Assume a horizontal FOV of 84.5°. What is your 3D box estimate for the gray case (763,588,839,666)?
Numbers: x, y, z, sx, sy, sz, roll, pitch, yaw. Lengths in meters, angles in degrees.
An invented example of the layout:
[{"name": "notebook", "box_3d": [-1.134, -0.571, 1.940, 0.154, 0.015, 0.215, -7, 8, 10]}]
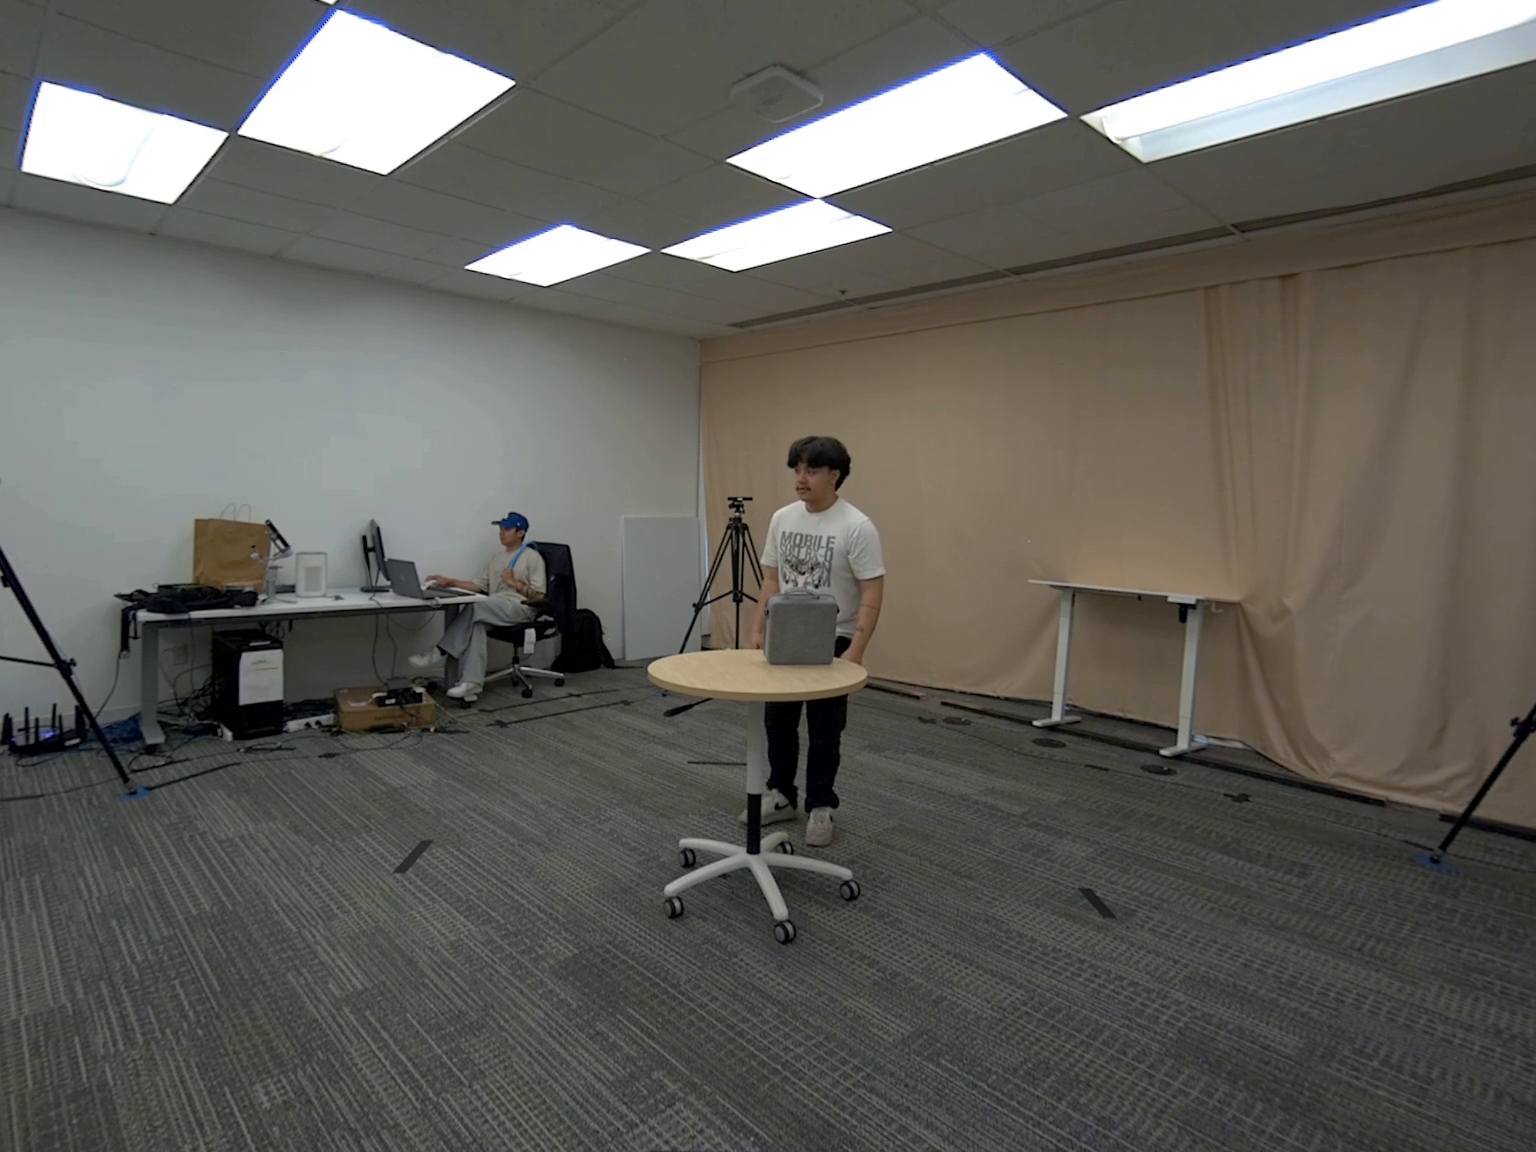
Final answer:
[{"name": "gray case", "box_3d": [0.111, 0.183, 3.036, 0.255, 0.258, 0.106, 1, 17, -7]}]
